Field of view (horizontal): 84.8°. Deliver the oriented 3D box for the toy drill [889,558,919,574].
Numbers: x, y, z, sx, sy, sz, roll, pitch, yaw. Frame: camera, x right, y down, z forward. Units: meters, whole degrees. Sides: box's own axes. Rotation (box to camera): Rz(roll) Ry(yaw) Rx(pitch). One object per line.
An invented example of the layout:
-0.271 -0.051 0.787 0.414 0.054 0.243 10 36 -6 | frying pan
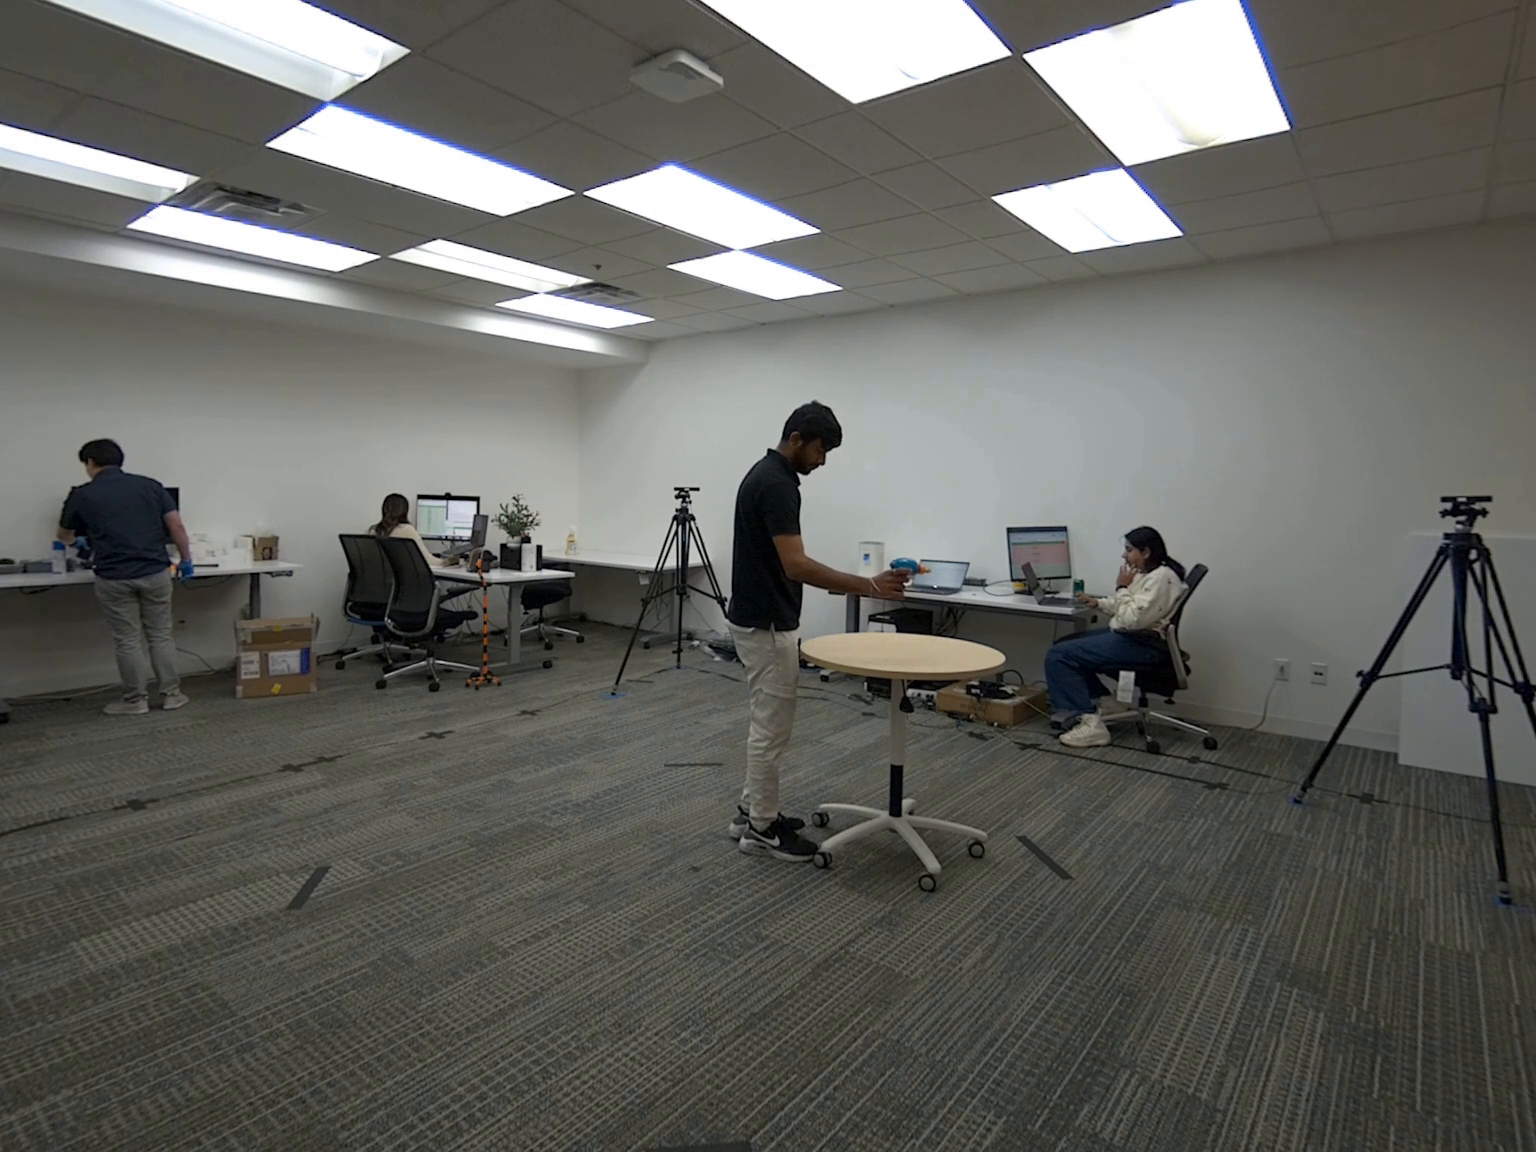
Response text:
0.485 0.008 2.963 0.166 0.145 0.063 11 6 -20 | toy drill
